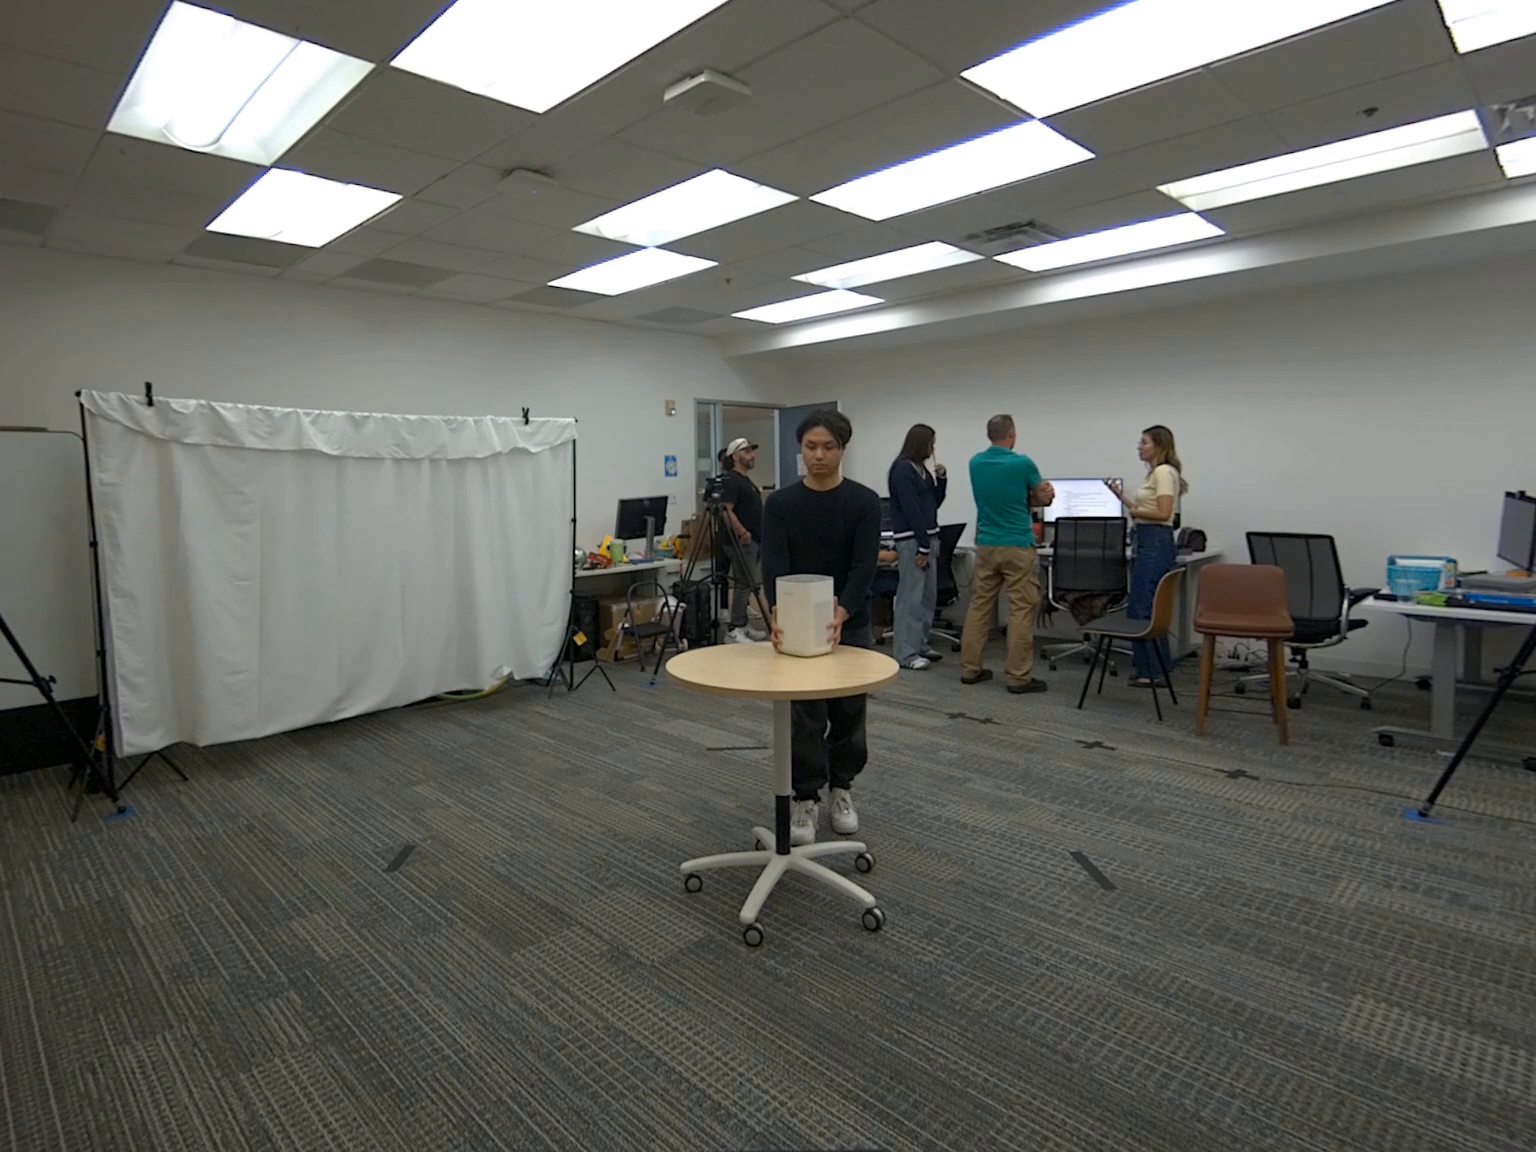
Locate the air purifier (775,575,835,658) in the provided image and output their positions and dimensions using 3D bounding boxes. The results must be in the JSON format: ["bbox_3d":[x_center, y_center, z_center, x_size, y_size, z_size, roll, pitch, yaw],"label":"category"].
[{"bbox_3d":[0.123,0.138,2.985,0.176,0.264,0.167,4,6,43],"label":"air purifier"}]
